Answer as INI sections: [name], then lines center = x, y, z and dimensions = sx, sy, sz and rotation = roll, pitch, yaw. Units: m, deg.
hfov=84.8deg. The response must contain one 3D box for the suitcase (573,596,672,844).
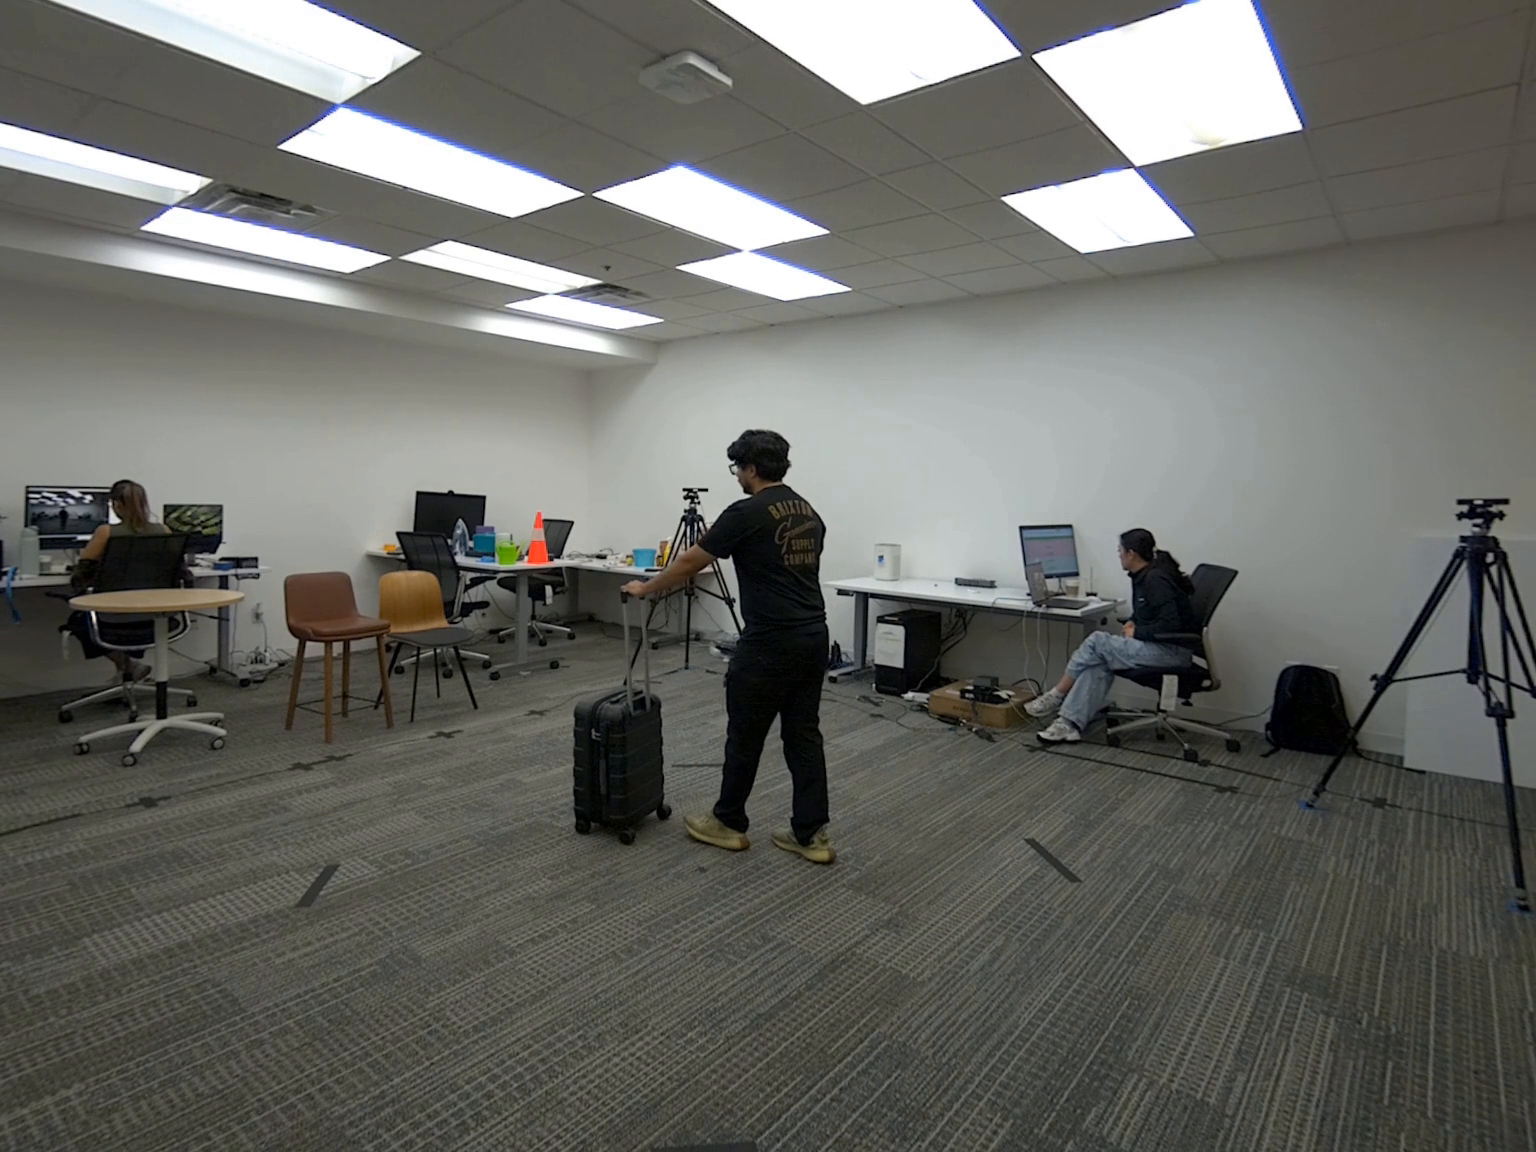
[suitcase]
center = -0.641, 0.553, 3.505
dimensions = 0.263, 0.978, 0.375
rotation = -3, 1, 25
